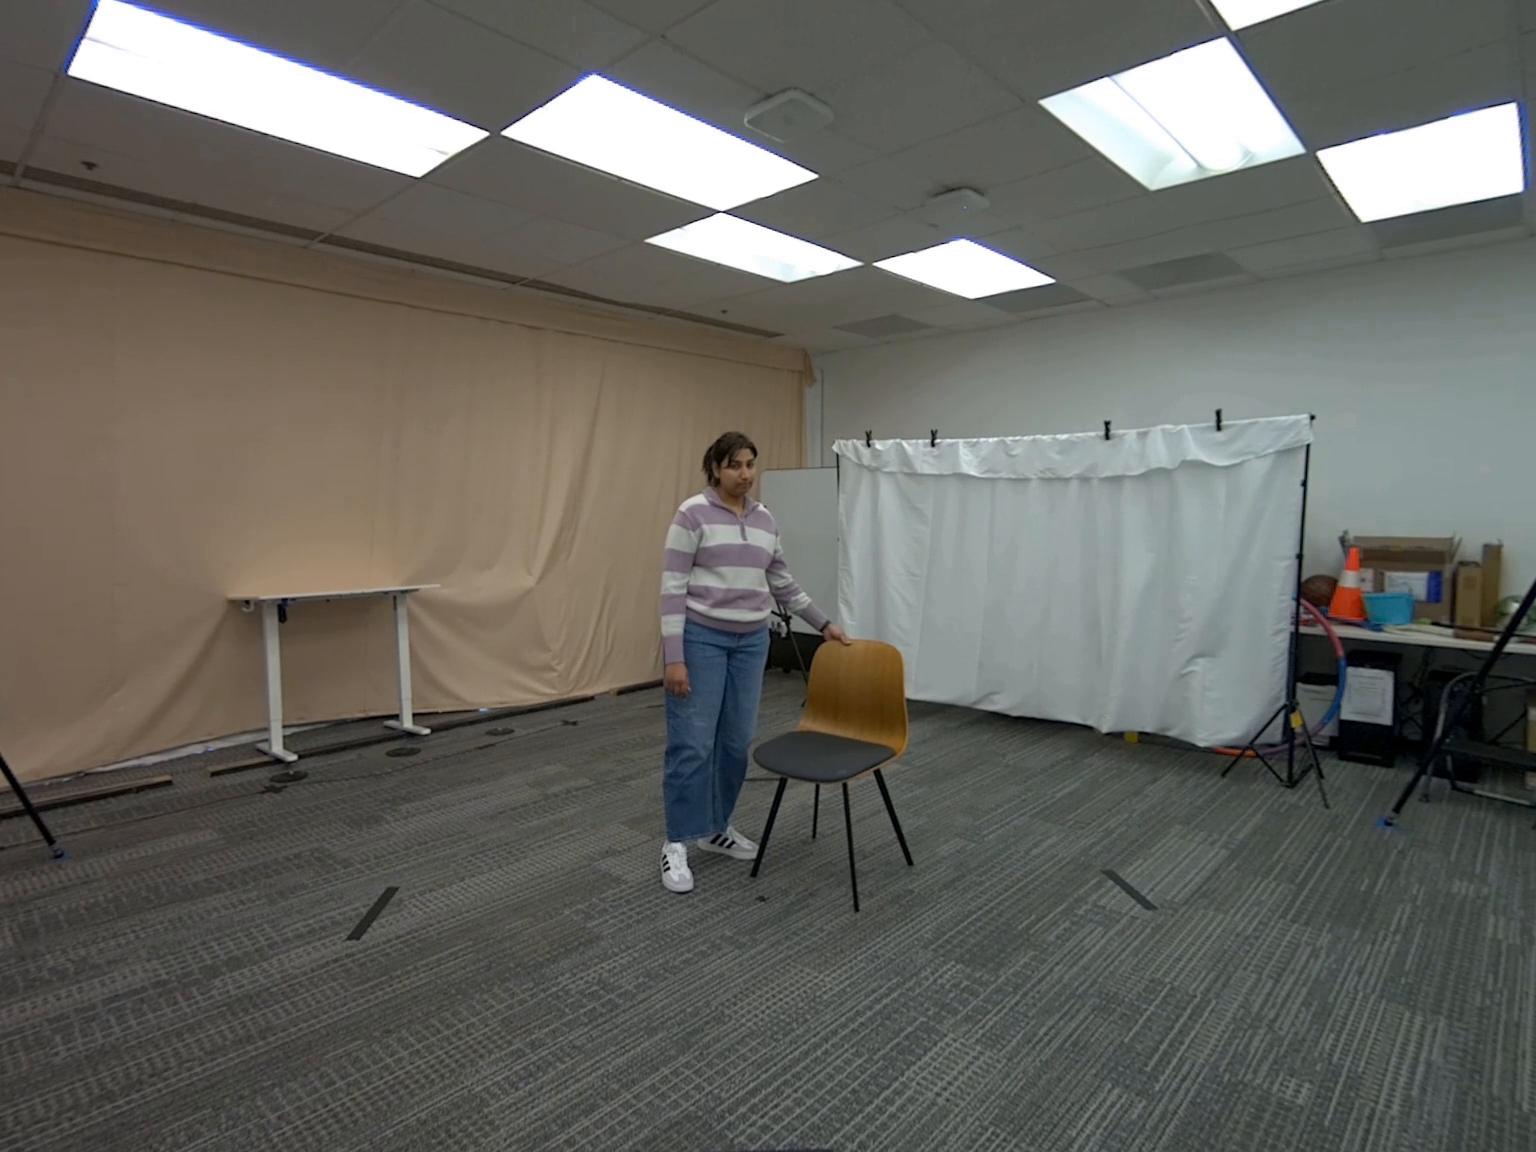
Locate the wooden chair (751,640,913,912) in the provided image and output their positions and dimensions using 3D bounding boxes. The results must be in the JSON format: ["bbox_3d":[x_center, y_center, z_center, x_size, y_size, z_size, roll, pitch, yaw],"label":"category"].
[{"bbox_3d":[0.243,0.695,3.143,0.493,0.877,0.507,3,1,36],"label":"wooden chair"}]
